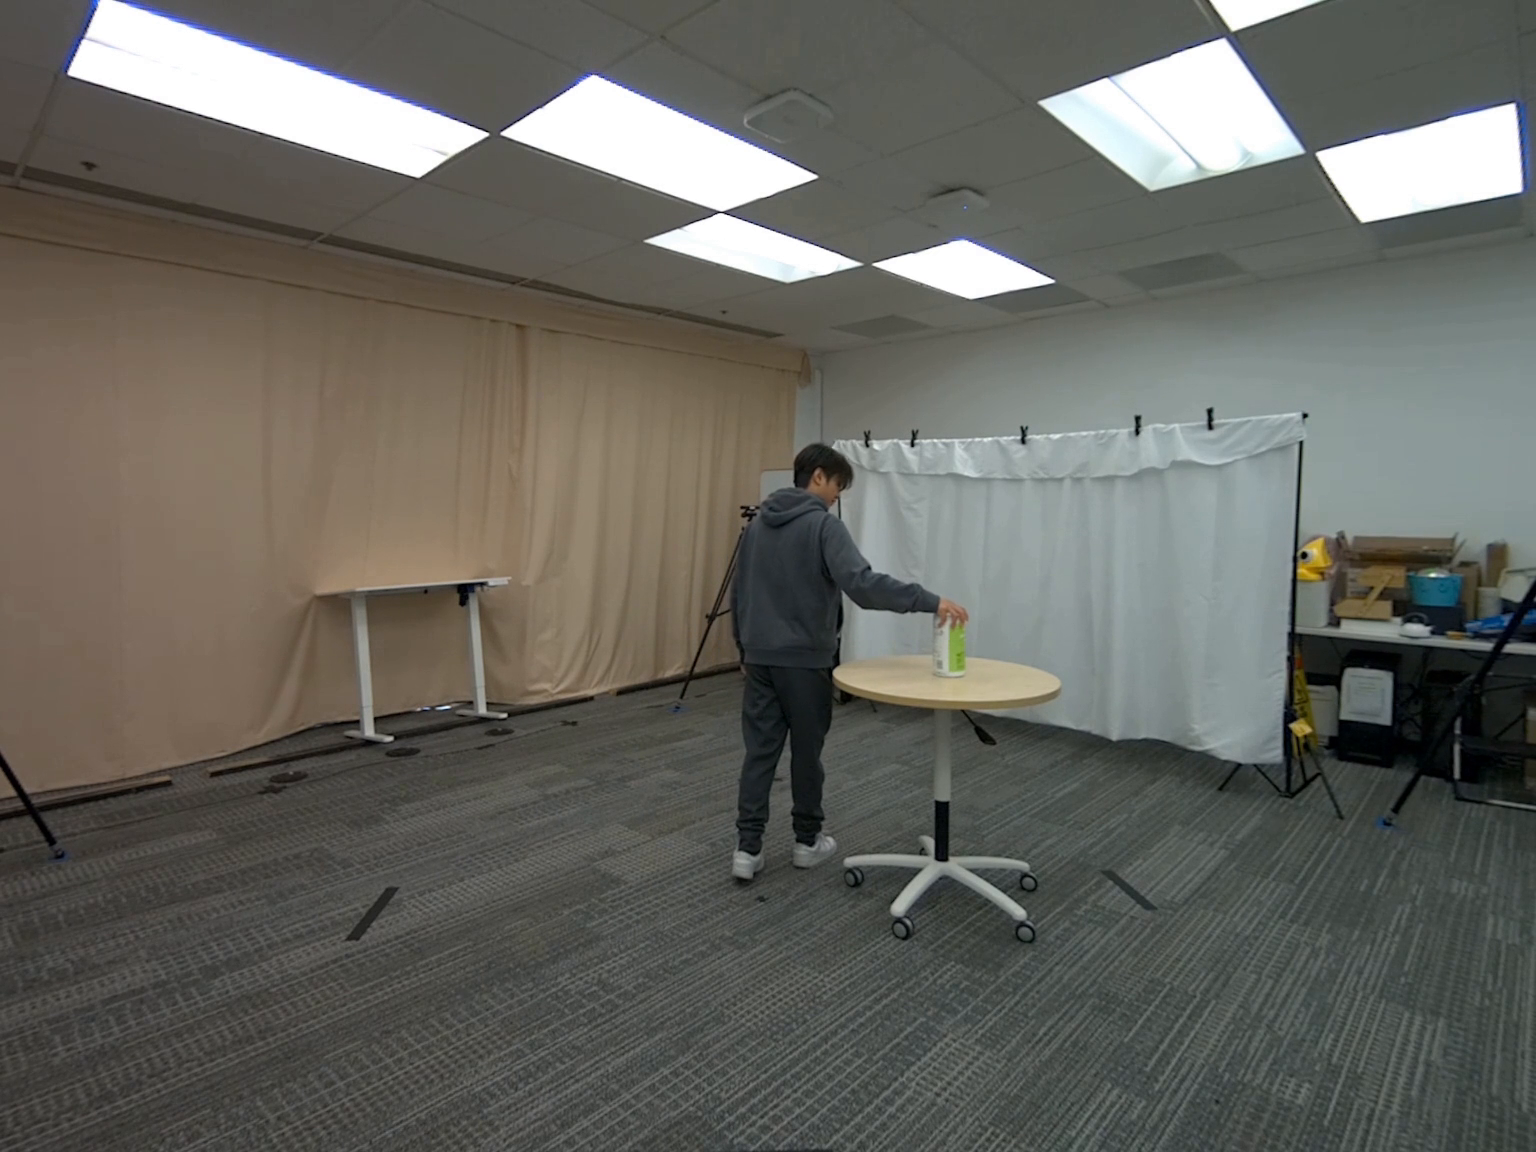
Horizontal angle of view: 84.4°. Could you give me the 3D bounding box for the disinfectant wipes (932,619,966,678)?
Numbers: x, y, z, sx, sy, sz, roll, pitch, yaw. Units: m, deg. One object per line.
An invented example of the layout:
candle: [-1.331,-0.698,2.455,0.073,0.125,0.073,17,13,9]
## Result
disinfectant wipes: [0.644,0.241,2.948,0.118,0.217,0.118,-2,2,-2]
